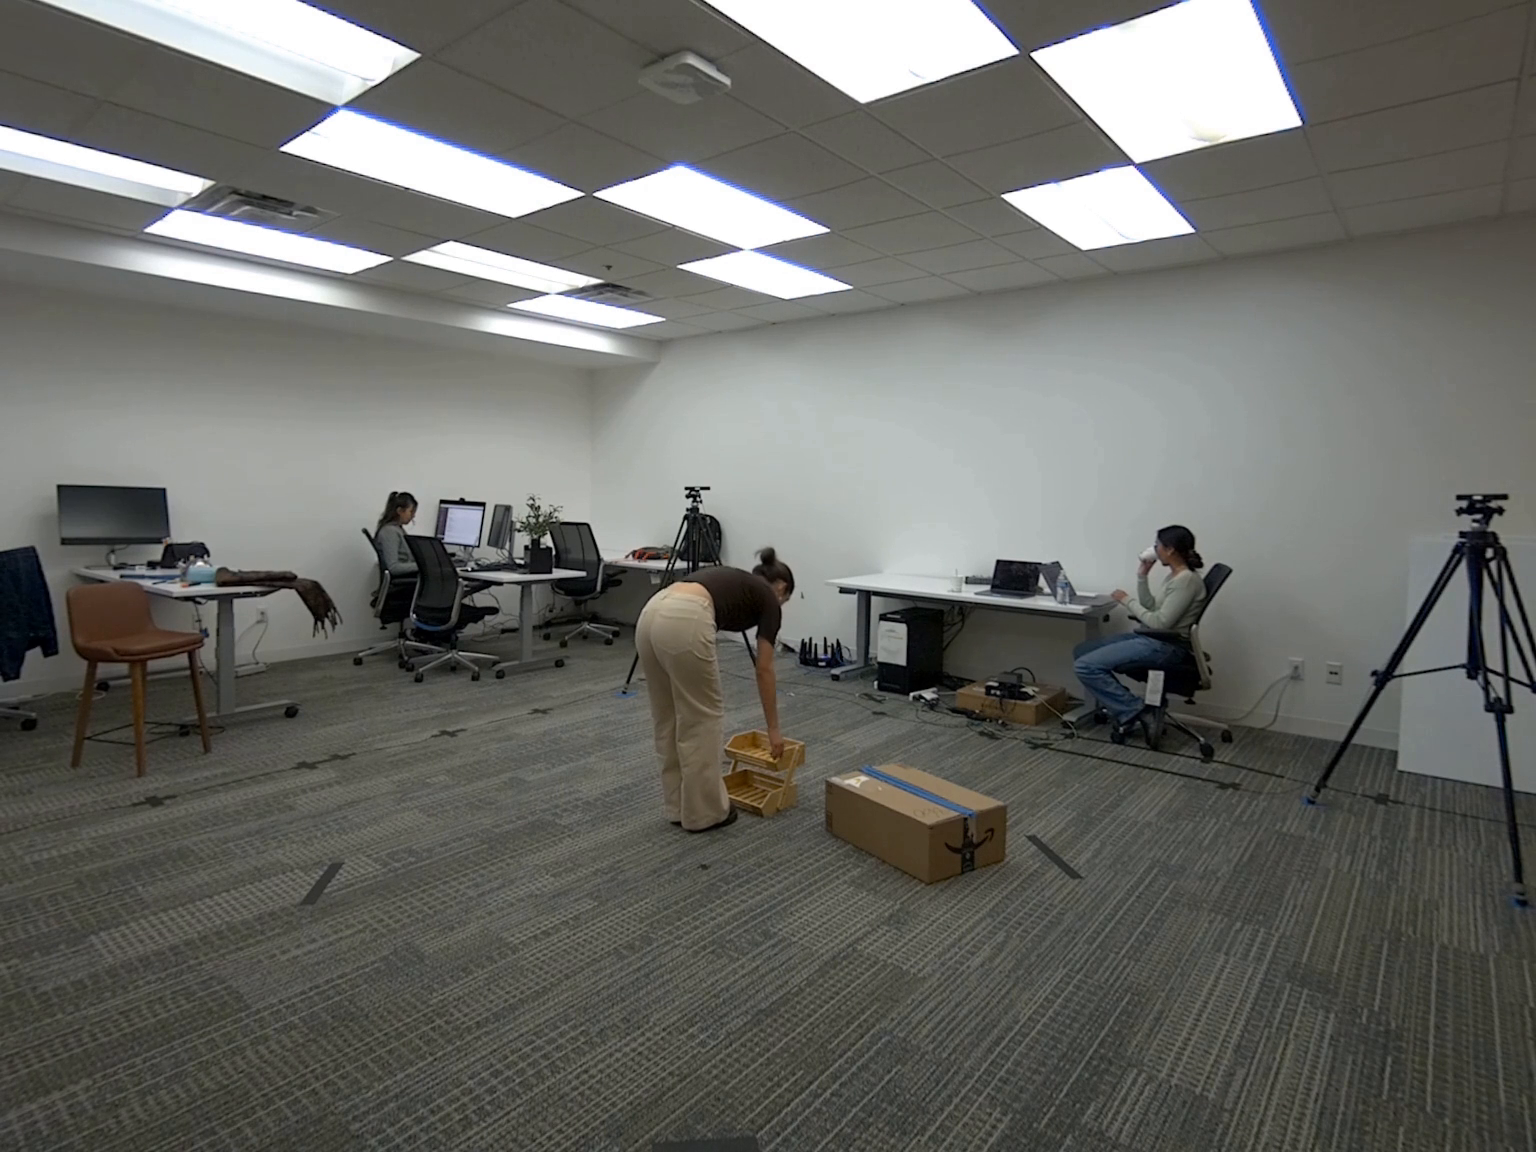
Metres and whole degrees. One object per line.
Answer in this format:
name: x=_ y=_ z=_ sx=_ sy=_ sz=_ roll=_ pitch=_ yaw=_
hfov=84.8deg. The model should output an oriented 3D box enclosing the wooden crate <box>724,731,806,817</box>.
wooden crate: x=-0.061 y=0.860 z=3.787 sx=0.335 sy=0.273 sz=0.293 roll=4 pitch=5 yaw=41
